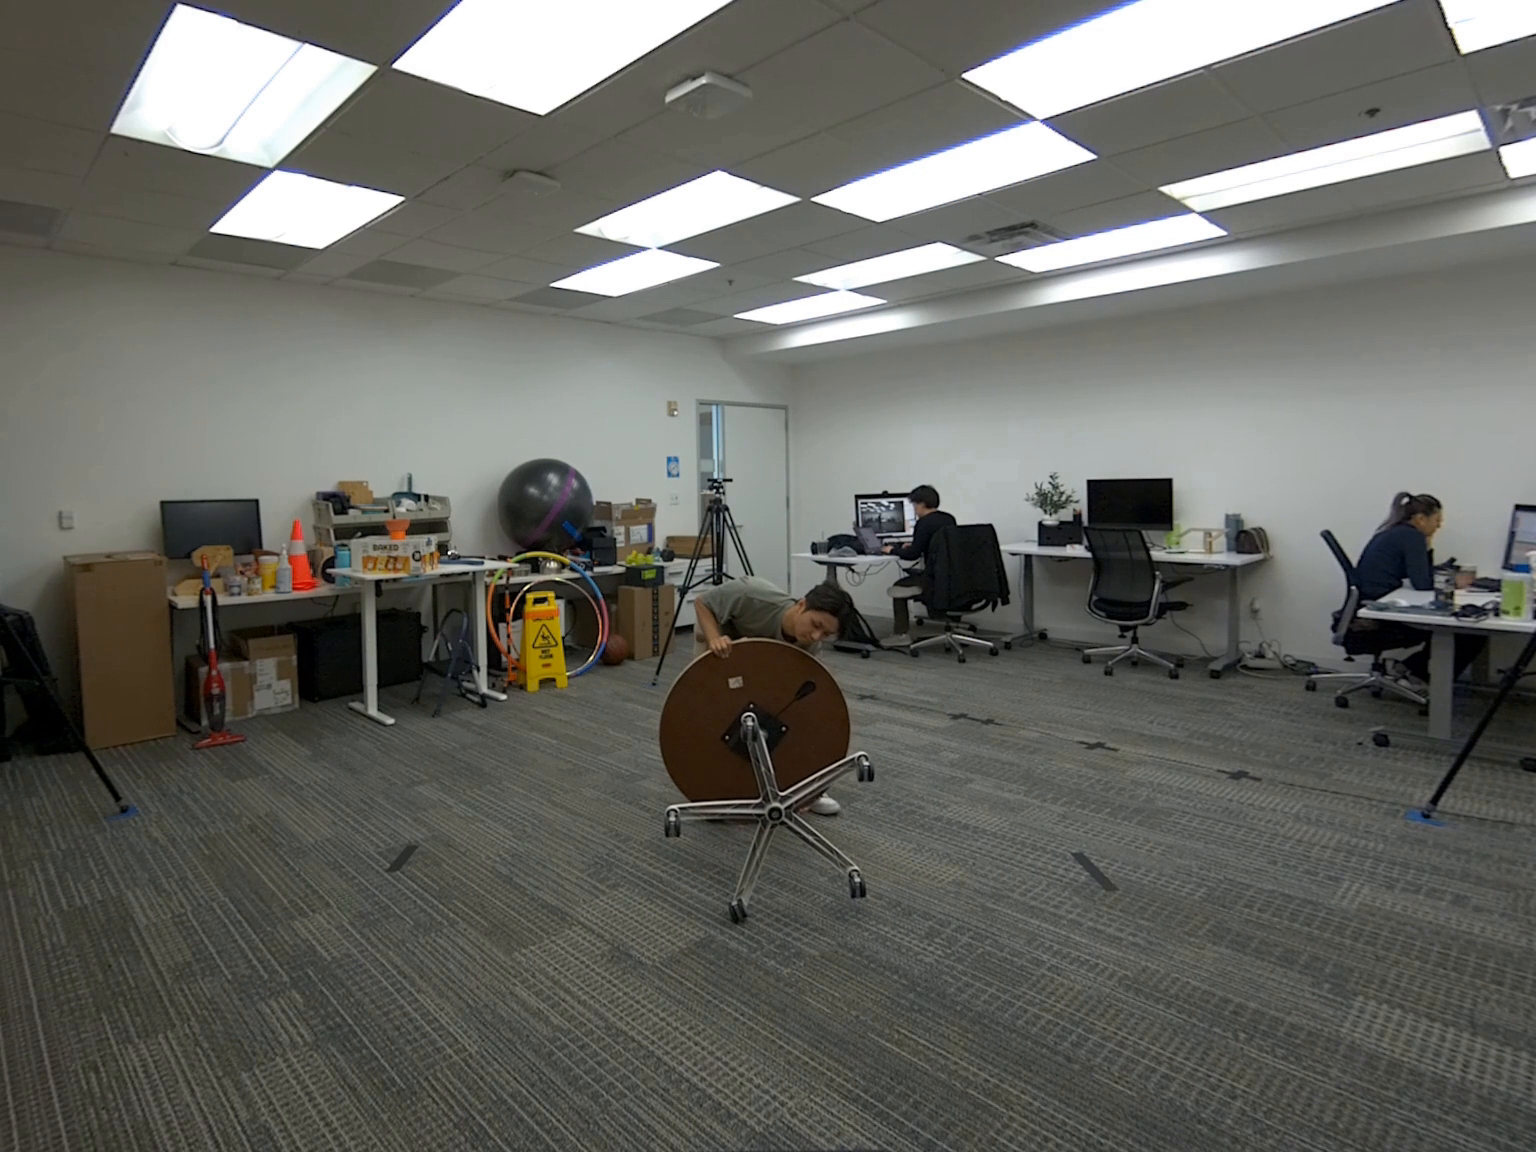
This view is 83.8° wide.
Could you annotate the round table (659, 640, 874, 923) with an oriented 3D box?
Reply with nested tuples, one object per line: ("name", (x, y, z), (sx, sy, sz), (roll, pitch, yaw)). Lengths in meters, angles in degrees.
("round table", (-0.005, 0.690, 3.029), (0.781, 0.779, 0.797), (-1, 10, -6))
